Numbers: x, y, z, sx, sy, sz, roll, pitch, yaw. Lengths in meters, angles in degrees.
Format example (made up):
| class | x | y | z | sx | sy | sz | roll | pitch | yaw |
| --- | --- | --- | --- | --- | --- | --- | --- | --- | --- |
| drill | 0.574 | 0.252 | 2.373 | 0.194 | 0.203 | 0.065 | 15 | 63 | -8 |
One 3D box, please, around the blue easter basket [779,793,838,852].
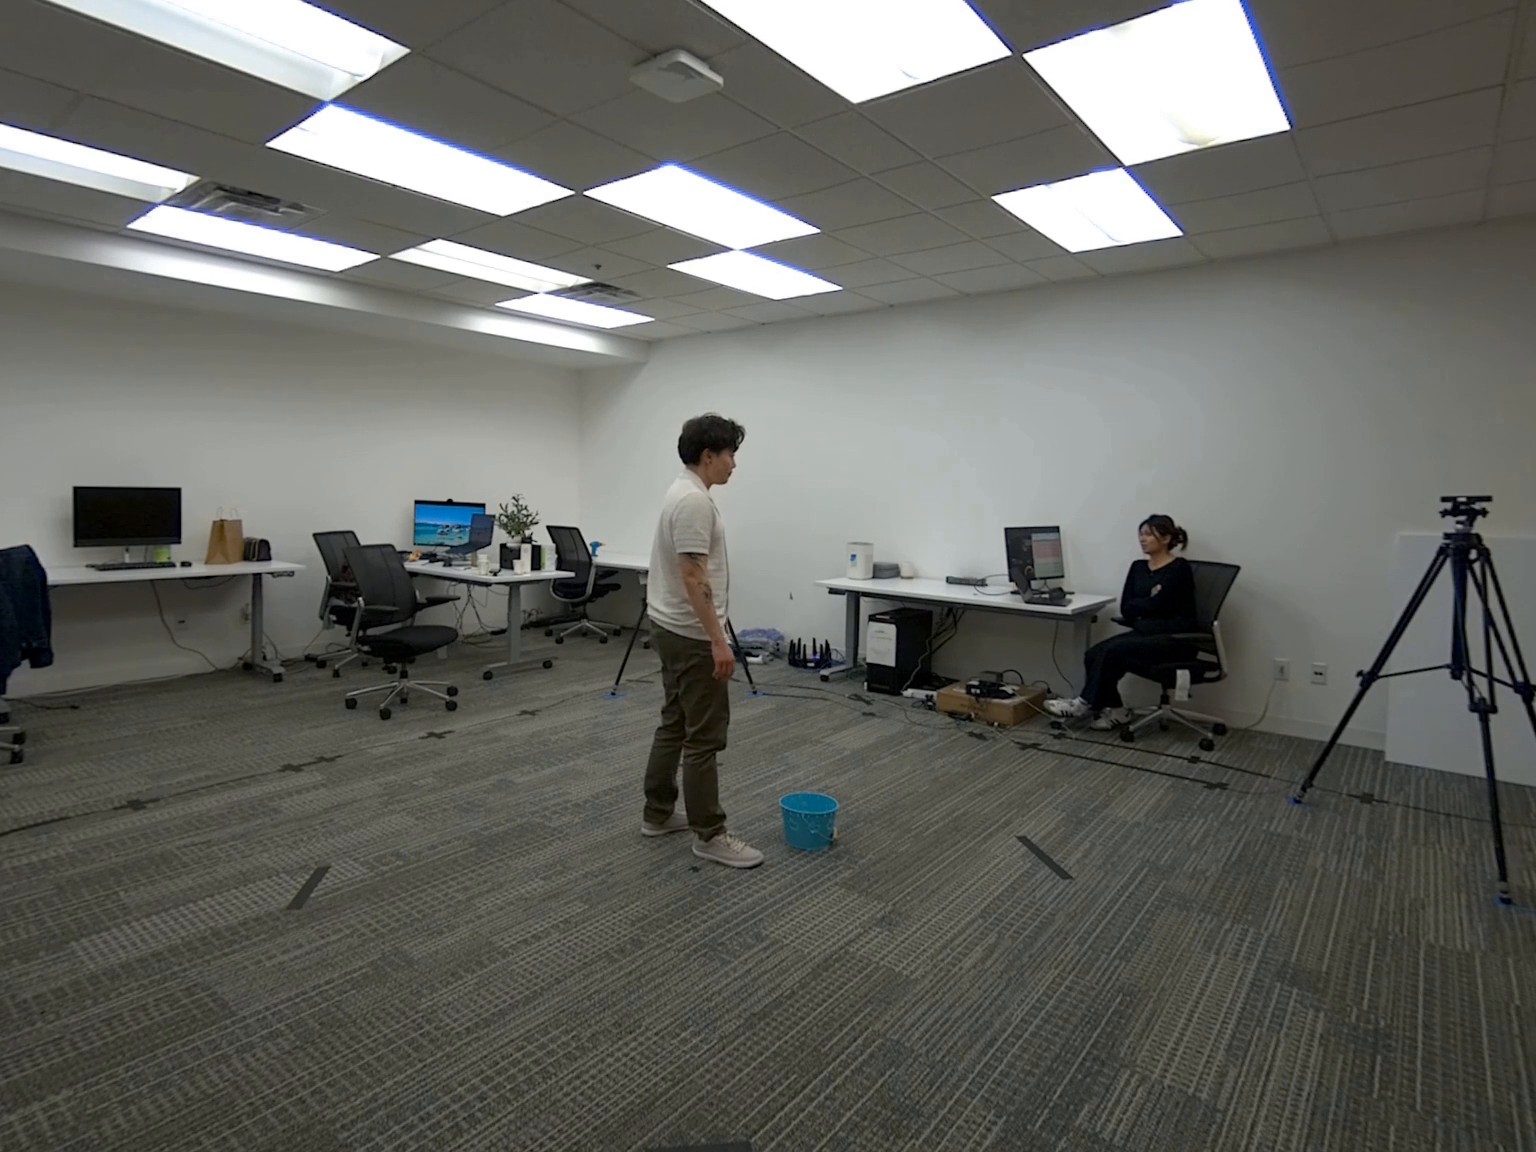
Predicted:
| class | x | y | z | sx | sy | sz | roll | pitch | yaw |
| --- | --- | --- | --- | --- | --- | --- | --- | --- | --- |
| blue easter basket | 0.157 | 0.970 | 3.371 | 0.243 | 0.155 | 0.245 | 1 | 5 | -2 |
